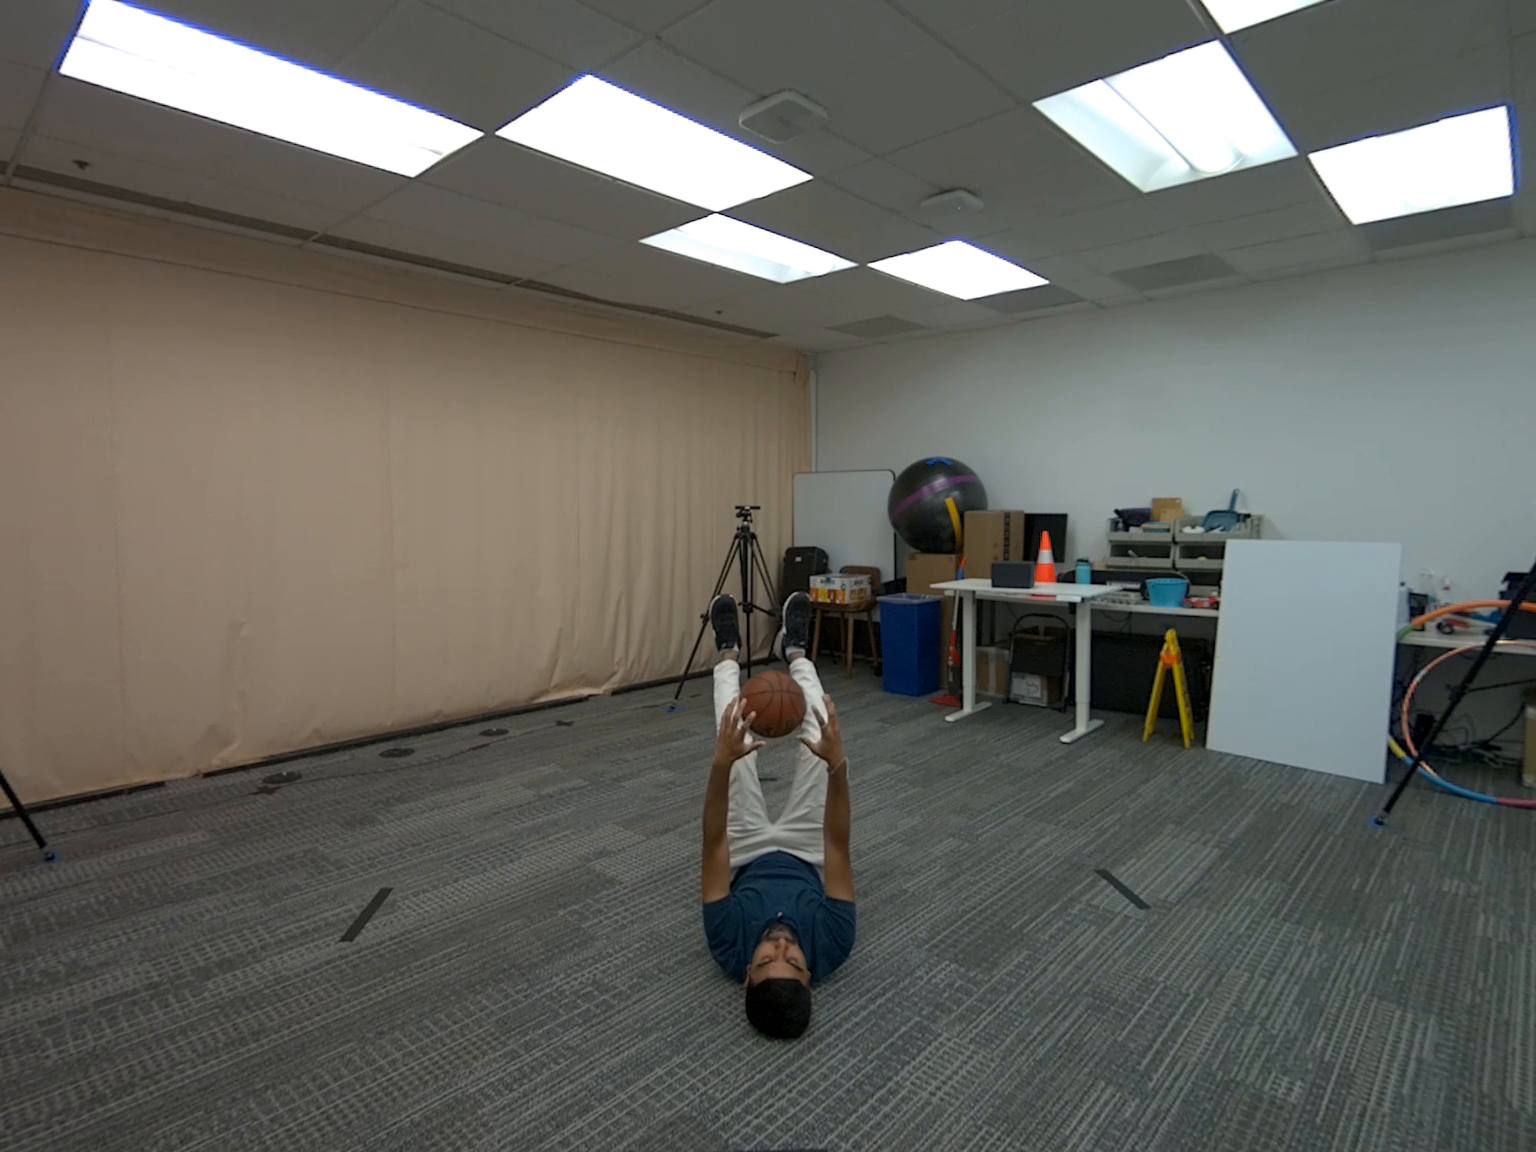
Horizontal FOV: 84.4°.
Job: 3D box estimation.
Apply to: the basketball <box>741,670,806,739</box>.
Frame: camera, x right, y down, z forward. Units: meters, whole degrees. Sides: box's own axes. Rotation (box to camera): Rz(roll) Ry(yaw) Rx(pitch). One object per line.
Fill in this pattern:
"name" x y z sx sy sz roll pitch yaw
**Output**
"basketball" 0.012 0.461 3.026 0.236 0.235 0.237 0 4 -2
